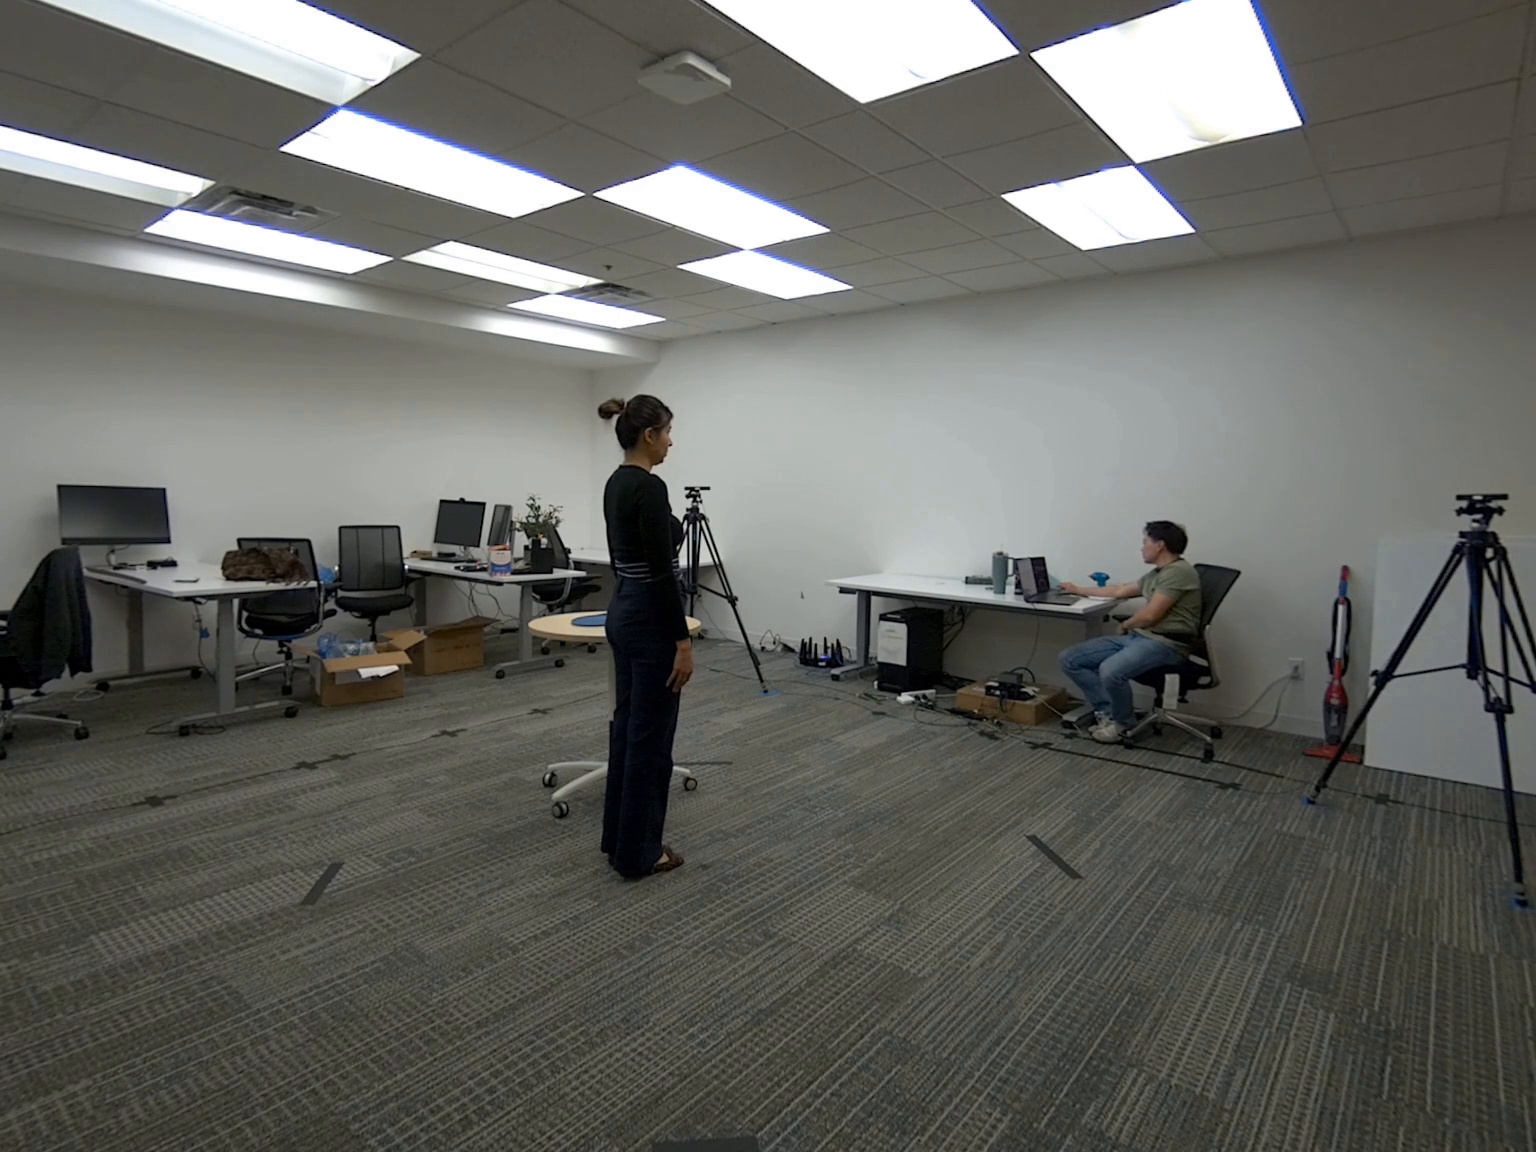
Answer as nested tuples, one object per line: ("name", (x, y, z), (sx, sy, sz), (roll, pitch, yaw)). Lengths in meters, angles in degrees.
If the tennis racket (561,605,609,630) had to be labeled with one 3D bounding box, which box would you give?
("tennis racket", (-0.772, 0.188, 3.894), (0.216, 0.031, 0.430), (2, 7, 9))
